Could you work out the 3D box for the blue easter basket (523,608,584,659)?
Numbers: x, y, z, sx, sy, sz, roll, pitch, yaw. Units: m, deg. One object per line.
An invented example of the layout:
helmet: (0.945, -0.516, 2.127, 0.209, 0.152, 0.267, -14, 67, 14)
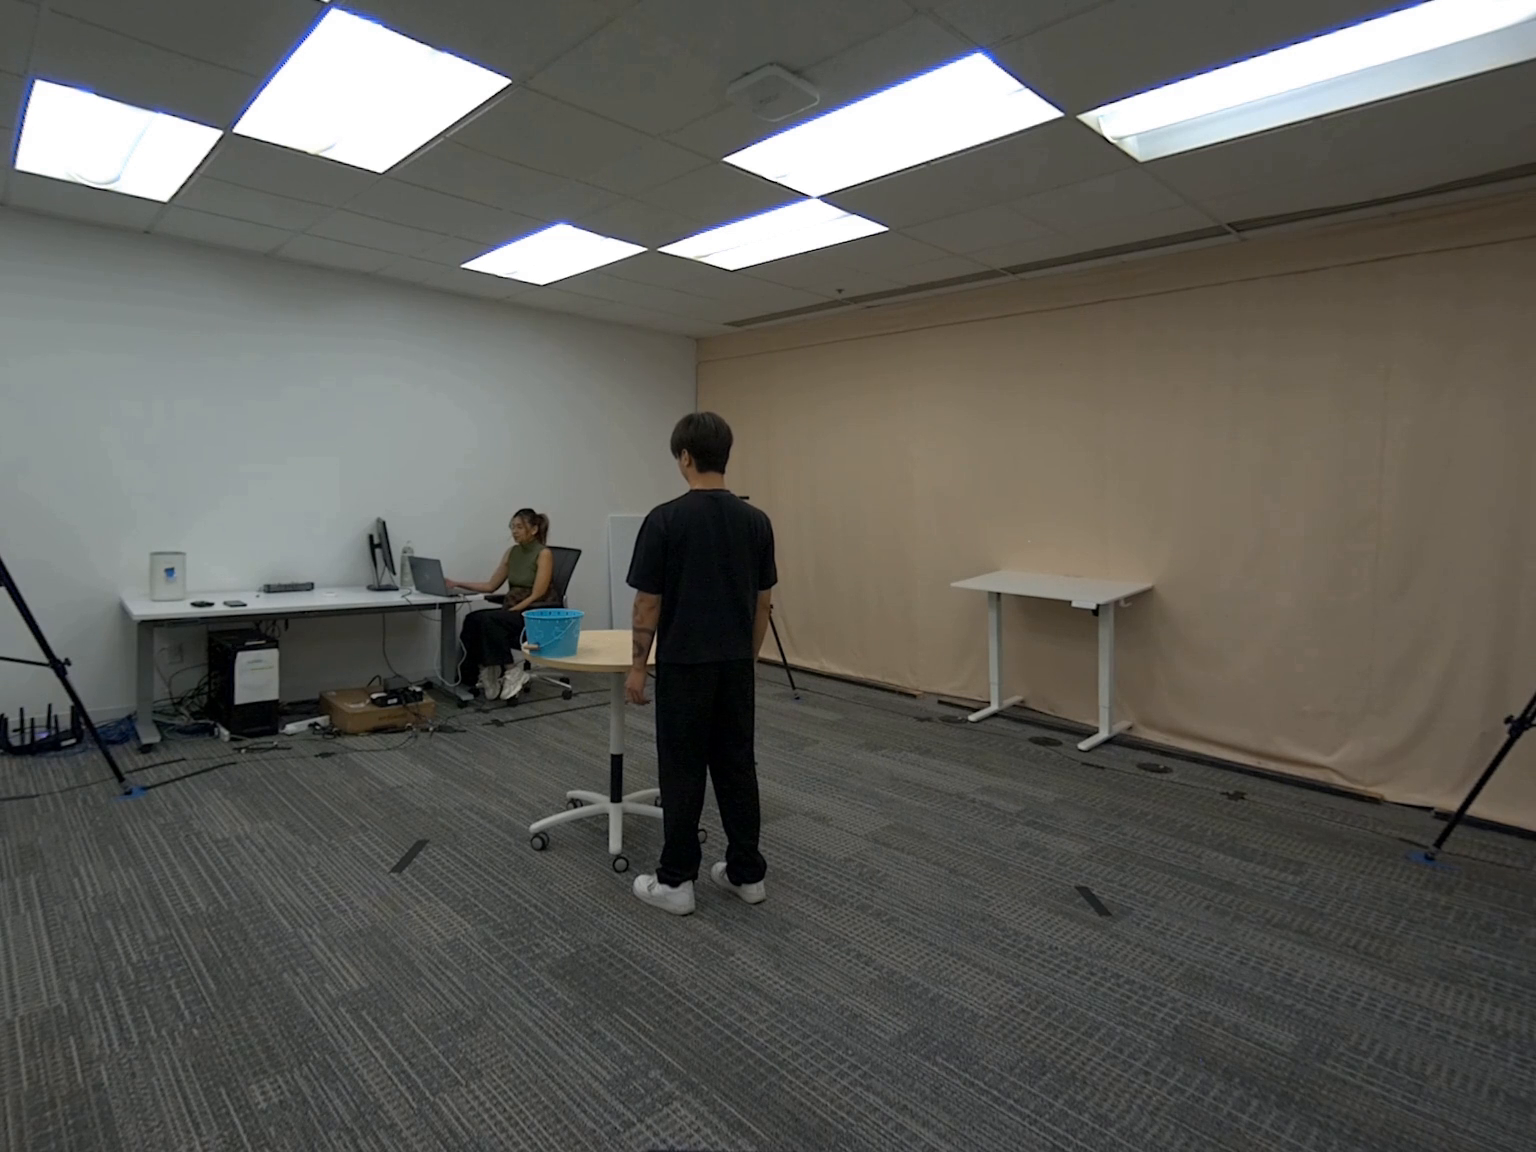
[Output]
blue easter basket: (-0.851, 0.223, 3.220, 0.243, 0.155, 0.244, 2, 4, -1)
